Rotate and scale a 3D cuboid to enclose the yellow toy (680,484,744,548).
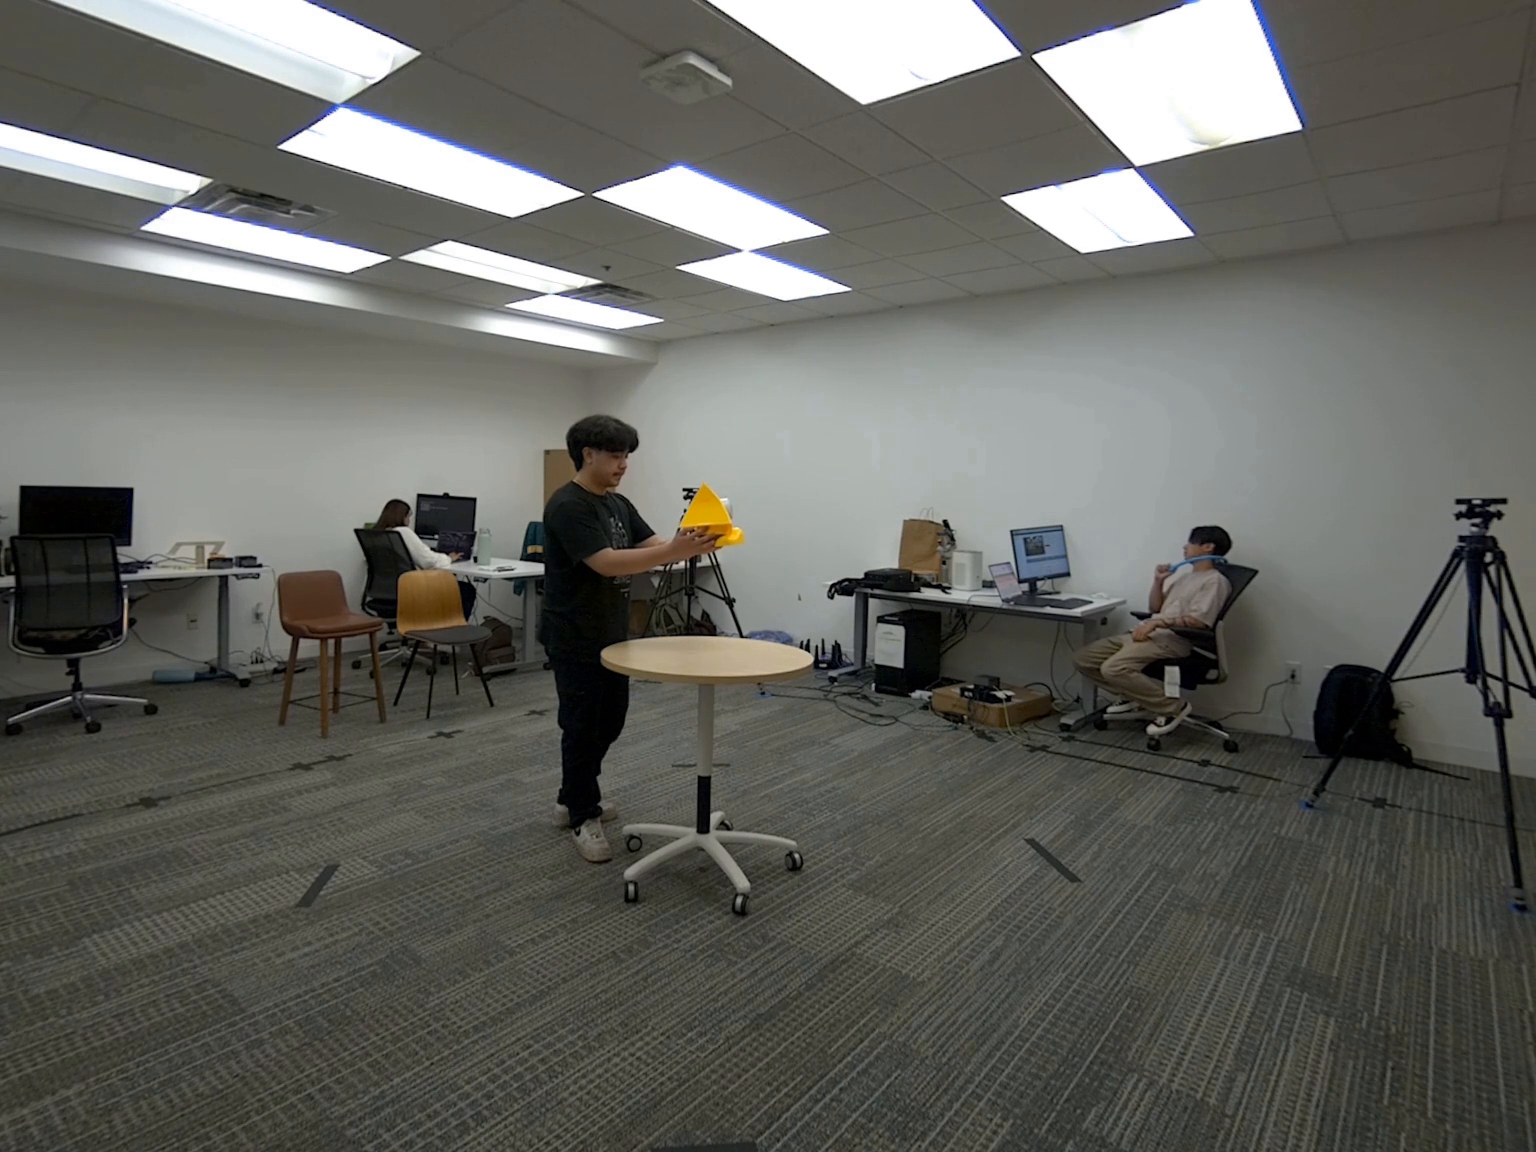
[{"bbox_3d":[-0.211,-0.228,3.086,0.209,0.230,0.190,-3,5,21],"label":"yellow toy"}]
